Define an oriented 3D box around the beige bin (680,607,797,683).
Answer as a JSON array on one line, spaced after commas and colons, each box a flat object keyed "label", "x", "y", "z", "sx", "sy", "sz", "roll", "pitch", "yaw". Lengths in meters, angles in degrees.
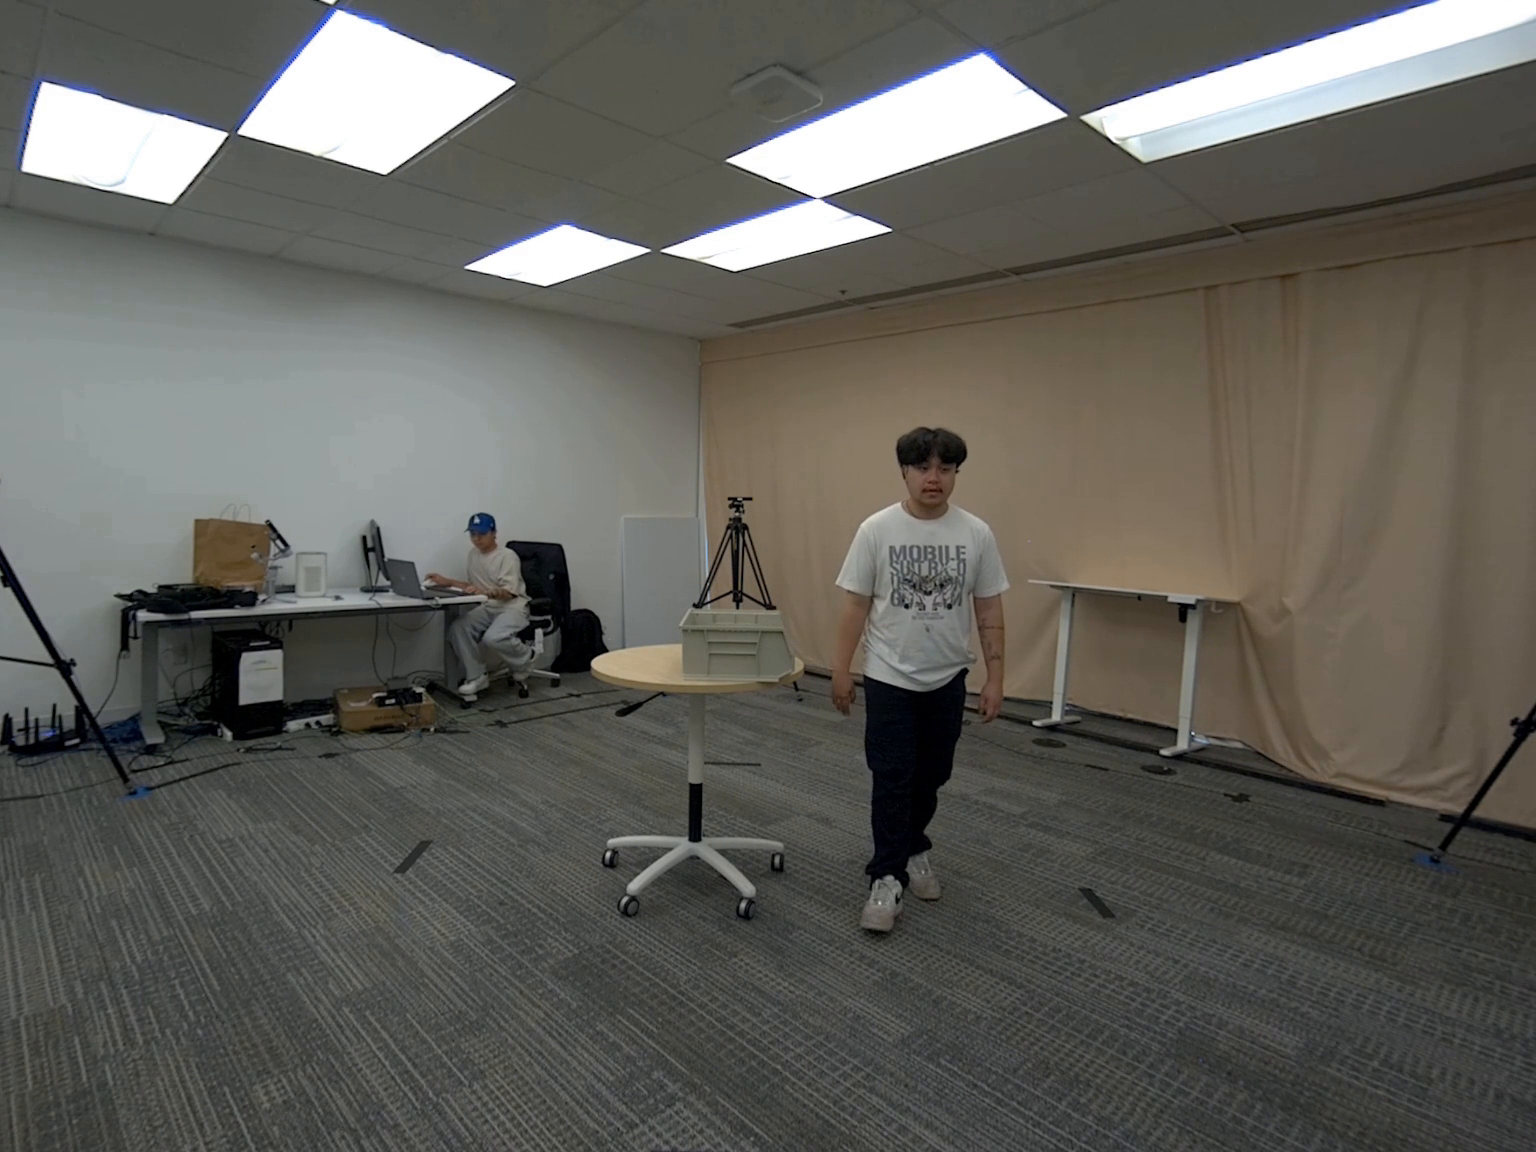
[{"label": "beige bin", "x": -0.106, "y": 0.229, "z": 2.928, "sx": 0.377, "sy": 0.188, "sz": 0.424, "roll": -1, "pitch": 6, "yaw": 0}]
